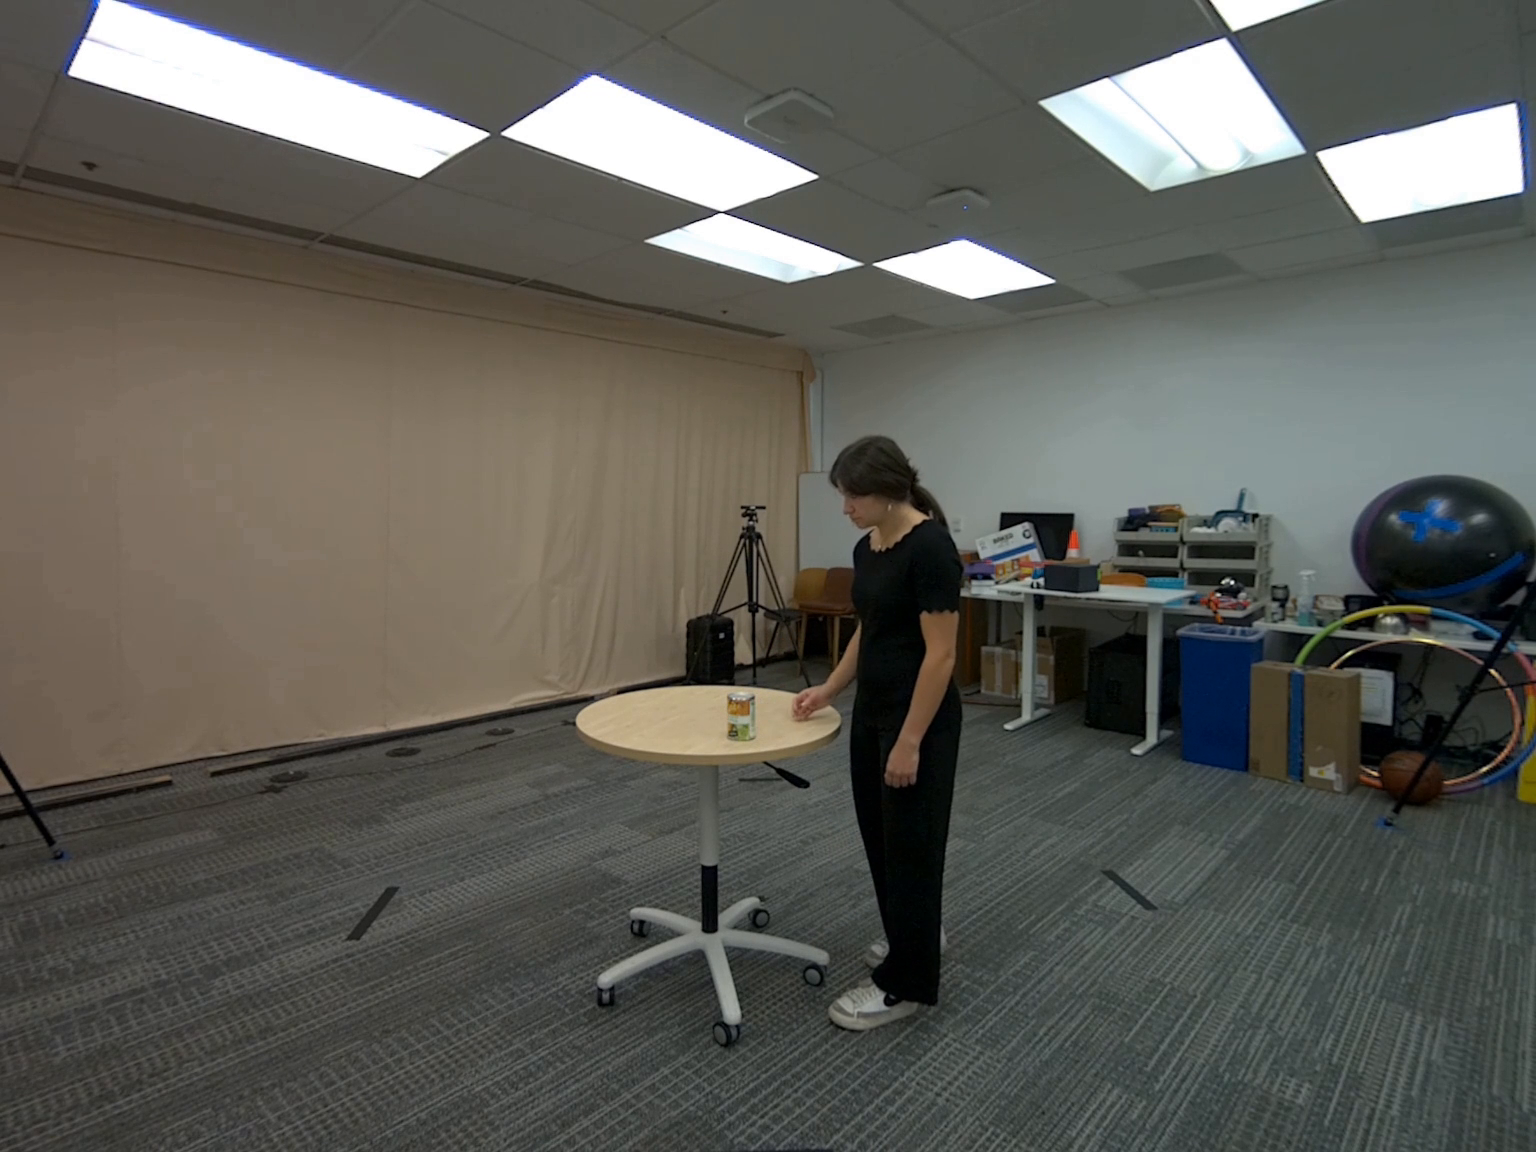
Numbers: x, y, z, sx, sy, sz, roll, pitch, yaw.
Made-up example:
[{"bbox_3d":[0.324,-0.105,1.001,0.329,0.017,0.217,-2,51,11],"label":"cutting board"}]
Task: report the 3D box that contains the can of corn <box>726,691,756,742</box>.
[{"bbox_3d":[-0.064,0.373,2.224,0.074,0.111,0.074,0,4,-2],"label":"can of corn"}]
